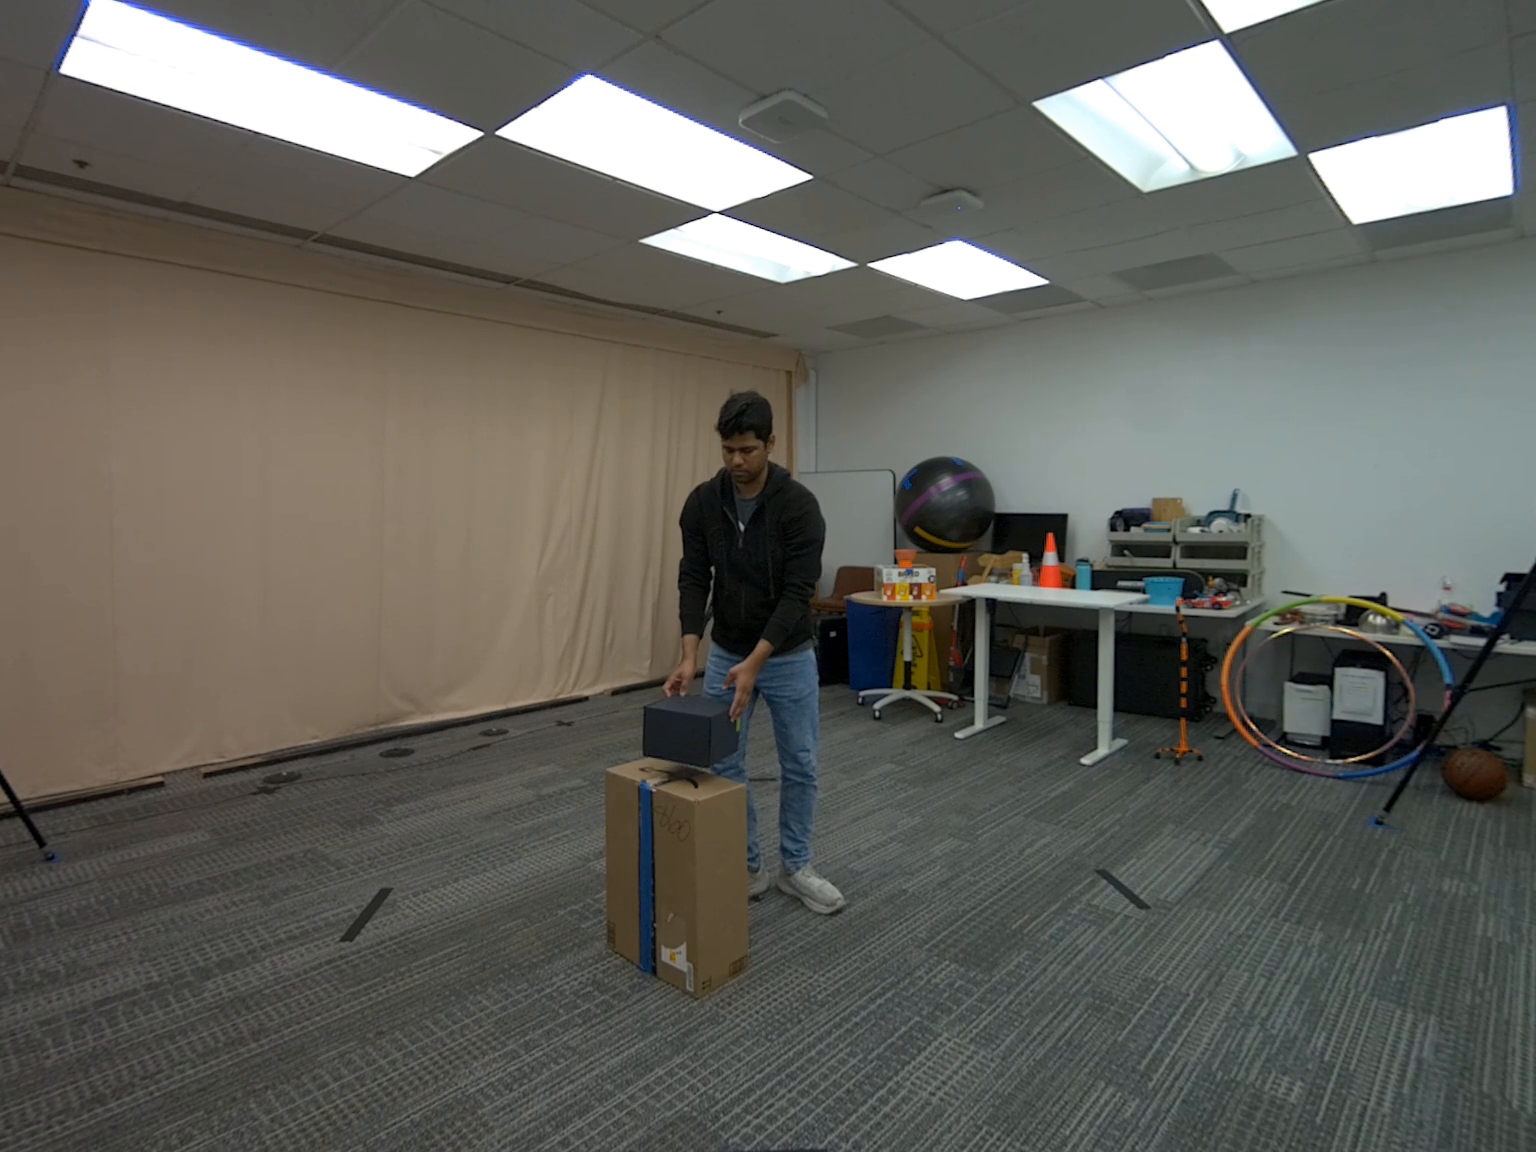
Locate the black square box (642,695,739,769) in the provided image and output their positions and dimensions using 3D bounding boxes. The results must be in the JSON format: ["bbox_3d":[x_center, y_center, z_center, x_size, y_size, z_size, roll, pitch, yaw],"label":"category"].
[{"bbox_3d":[-0.223,0.469,2.601,0.233,0.156,0.212,4,3,23],"label":"black square box"}]
